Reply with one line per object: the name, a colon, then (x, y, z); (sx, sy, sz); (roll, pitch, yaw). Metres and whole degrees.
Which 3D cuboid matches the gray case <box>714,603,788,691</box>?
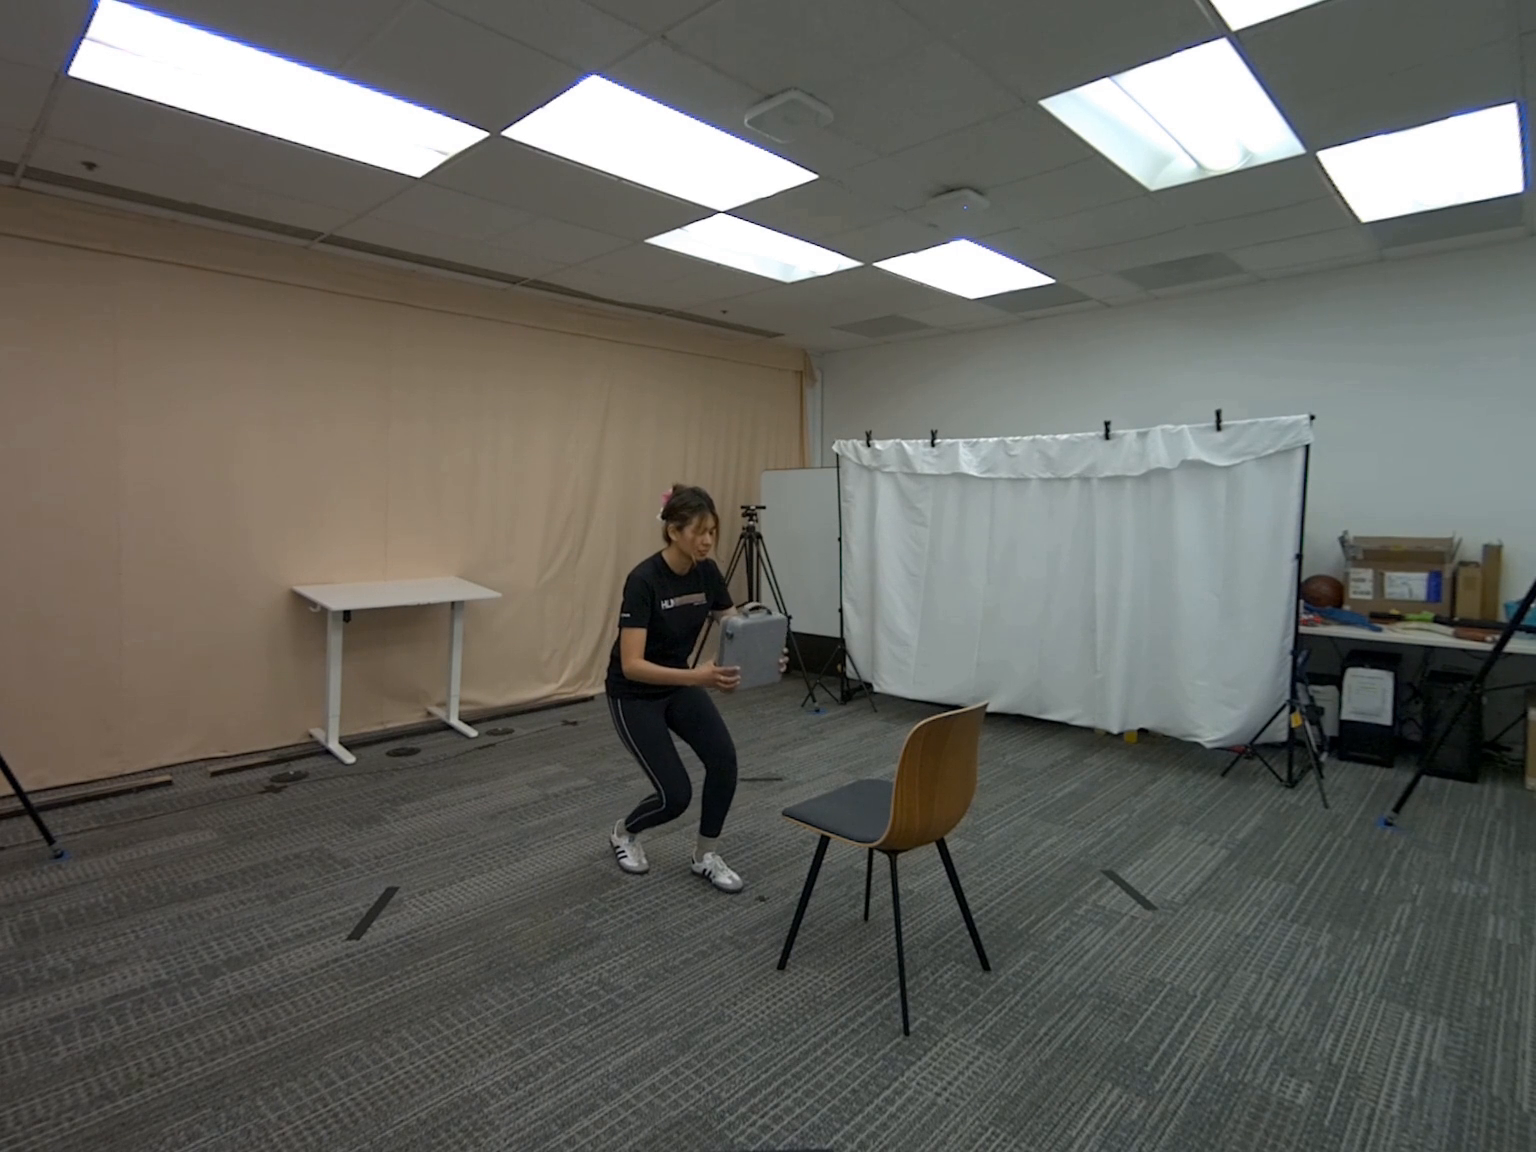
gray case: (-0.060, 0.243, 2.846); (0.108, 0.259, 0.249); (13, 13, 44)
